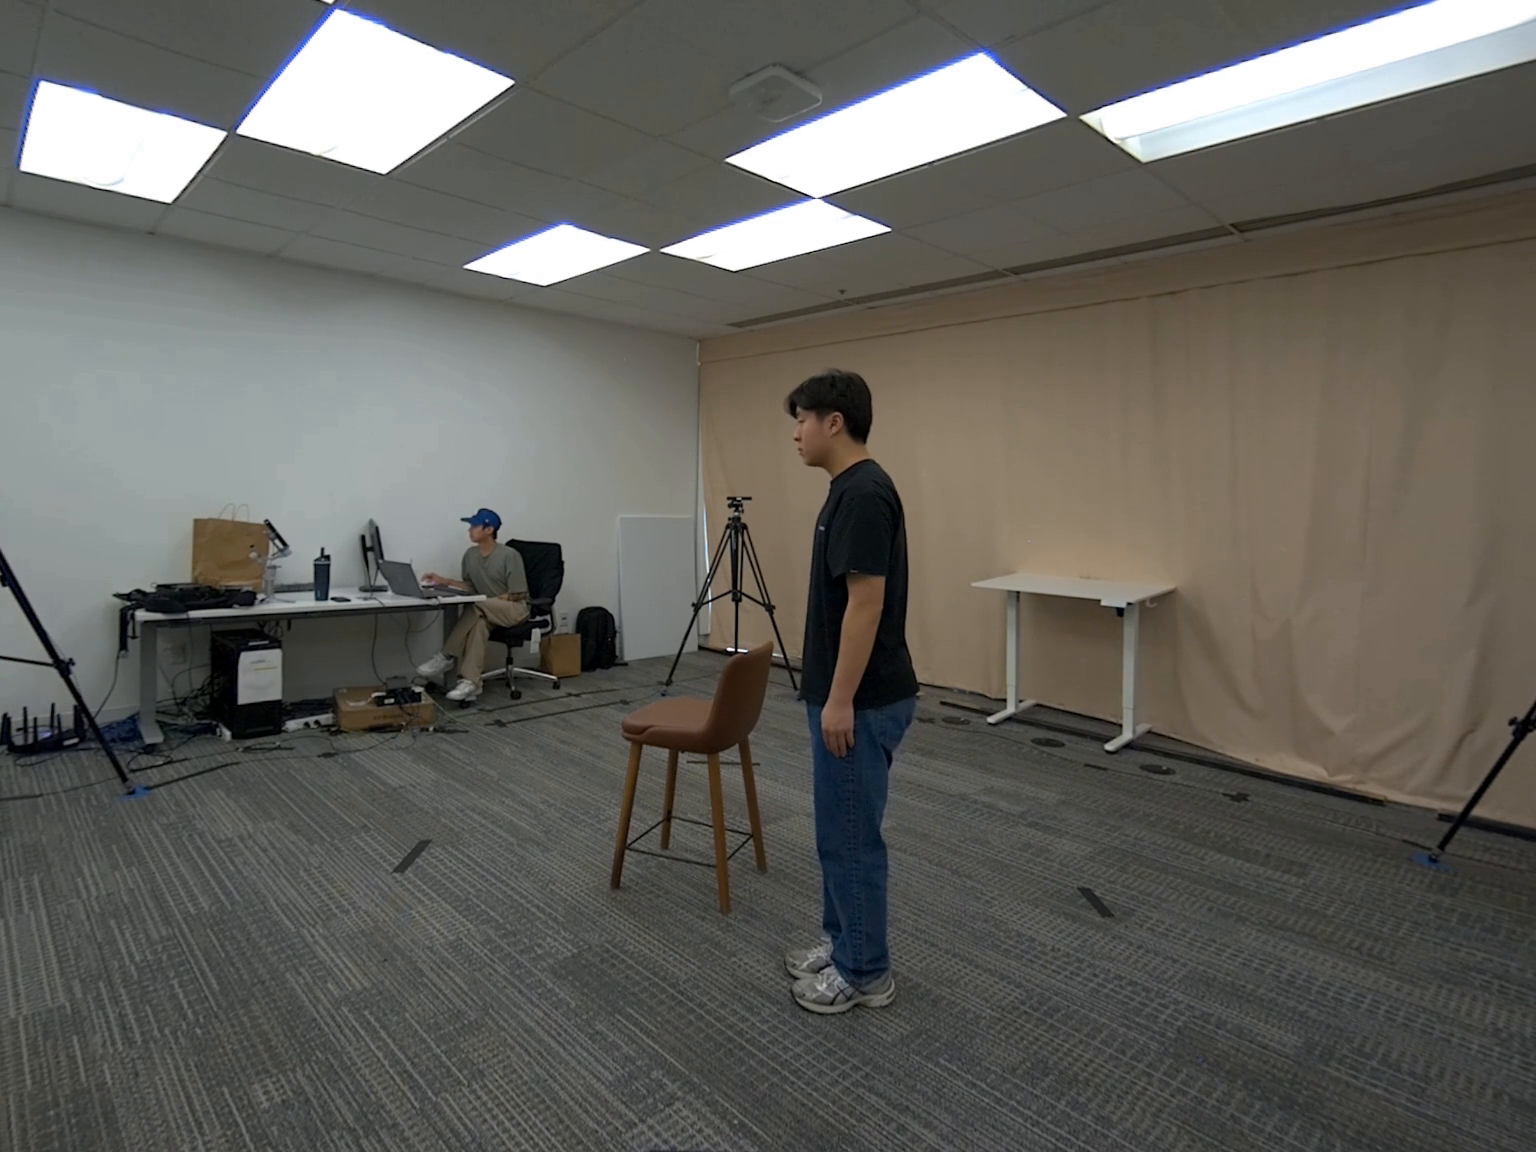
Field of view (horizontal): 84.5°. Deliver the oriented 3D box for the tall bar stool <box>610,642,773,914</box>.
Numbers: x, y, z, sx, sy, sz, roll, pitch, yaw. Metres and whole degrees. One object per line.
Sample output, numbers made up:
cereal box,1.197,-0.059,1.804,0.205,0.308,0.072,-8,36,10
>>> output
tall bar stool,-0.268,0.677,3.047,0.476,0.887,0.449,5,5,23
